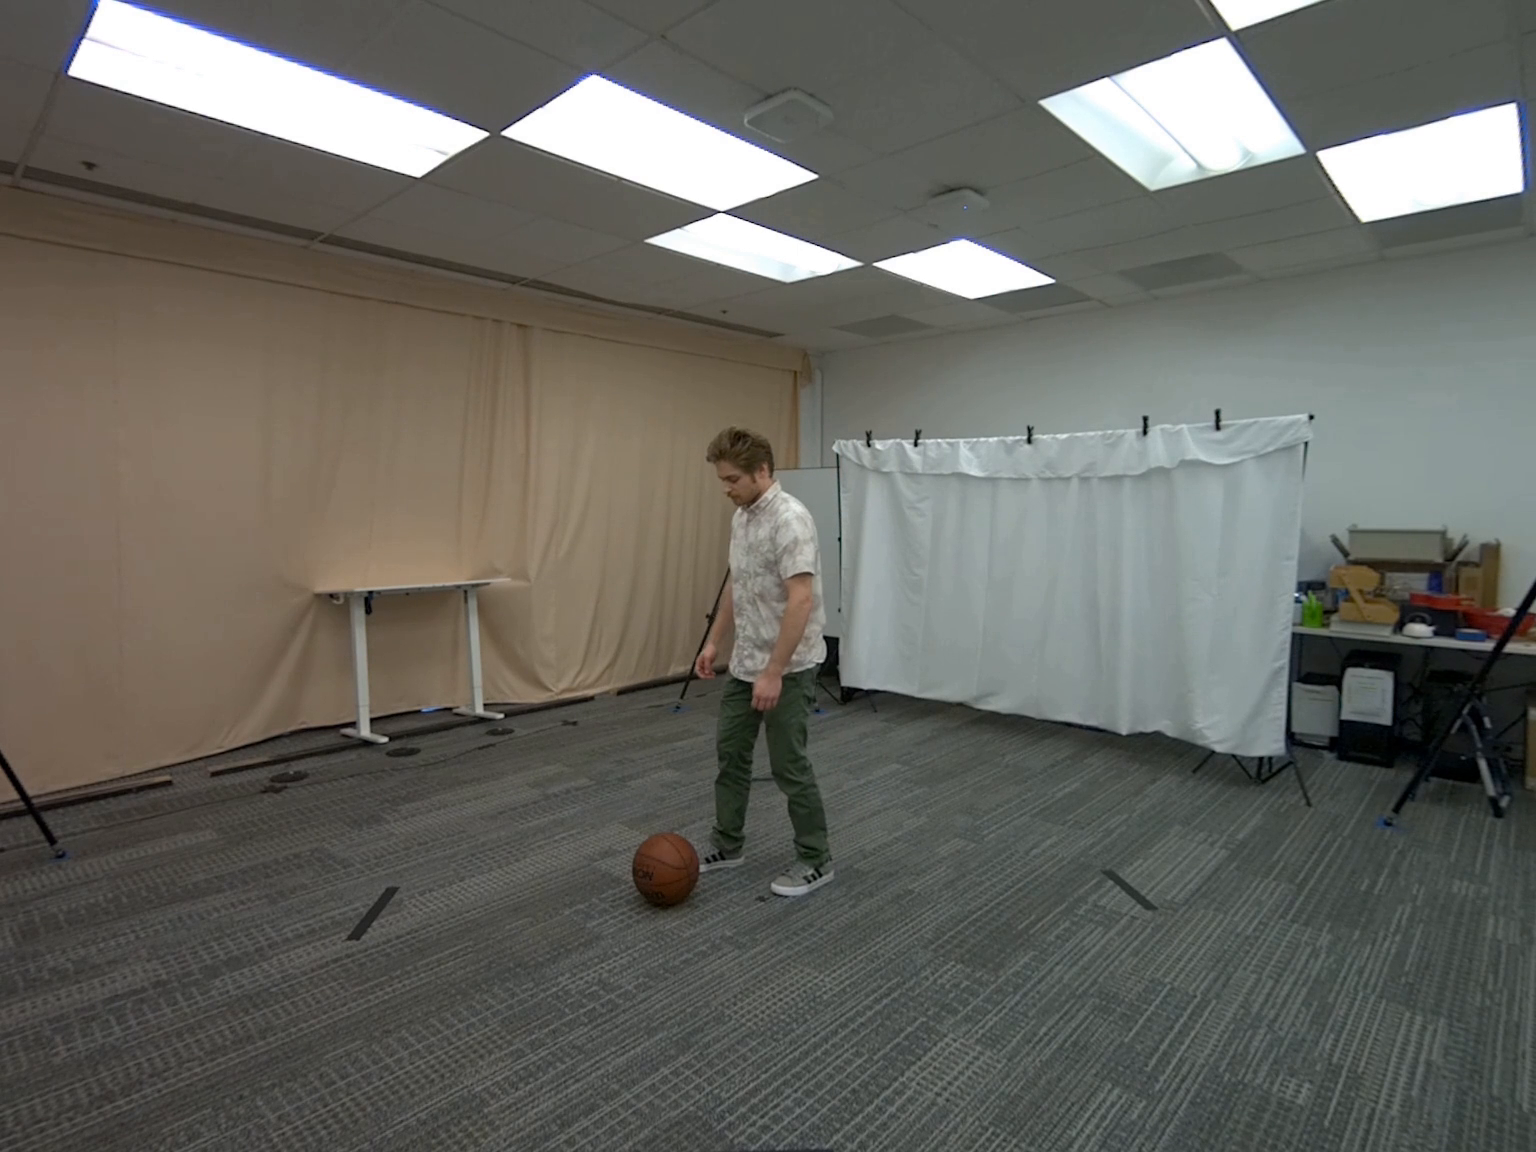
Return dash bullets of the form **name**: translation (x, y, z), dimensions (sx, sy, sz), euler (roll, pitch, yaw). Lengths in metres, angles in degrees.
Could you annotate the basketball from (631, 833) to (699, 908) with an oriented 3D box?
- **basketball**: translation (-0.359, 1.026, 2.962), dimensions (0.236, 0.235, 0.237), euler (0, 4, -2)
